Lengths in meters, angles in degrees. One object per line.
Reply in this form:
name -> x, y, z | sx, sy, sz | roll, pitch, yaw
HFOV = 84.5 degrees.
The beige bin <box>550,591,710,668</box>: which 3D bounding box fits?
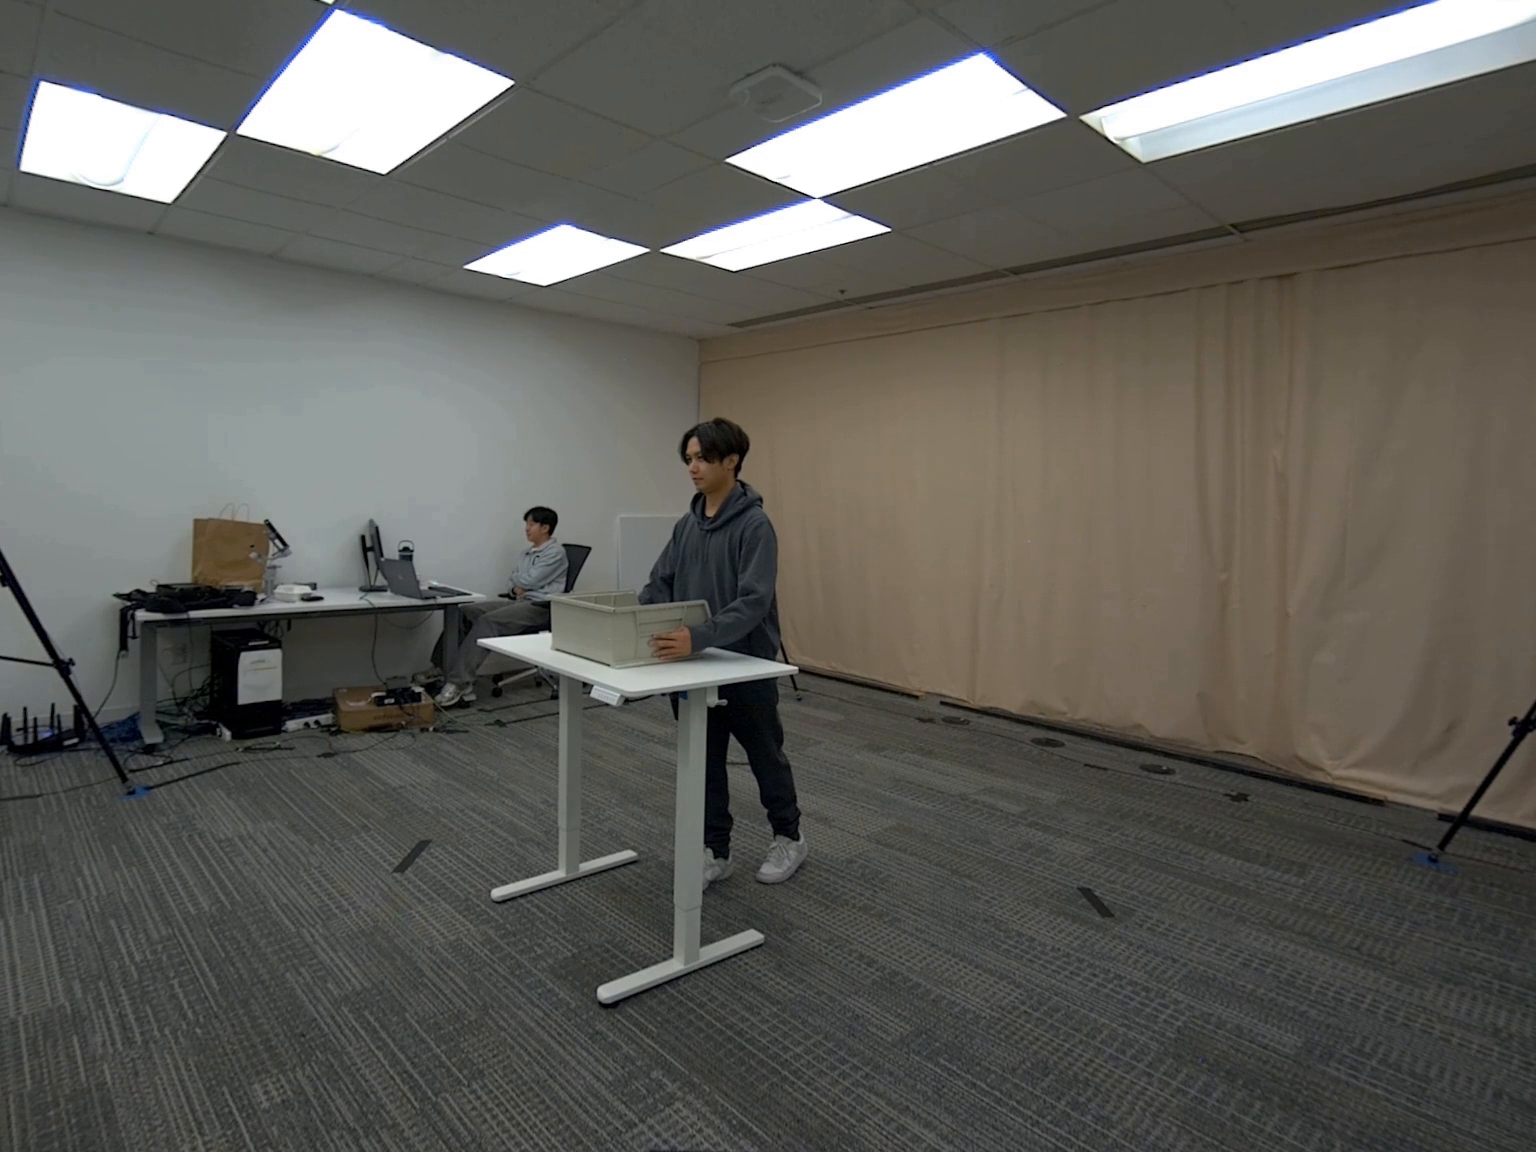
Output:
beige bin -> -0.460, 0.162, 2.704 | 0.369, 0.188, 0.433 | -4, 7, -41
